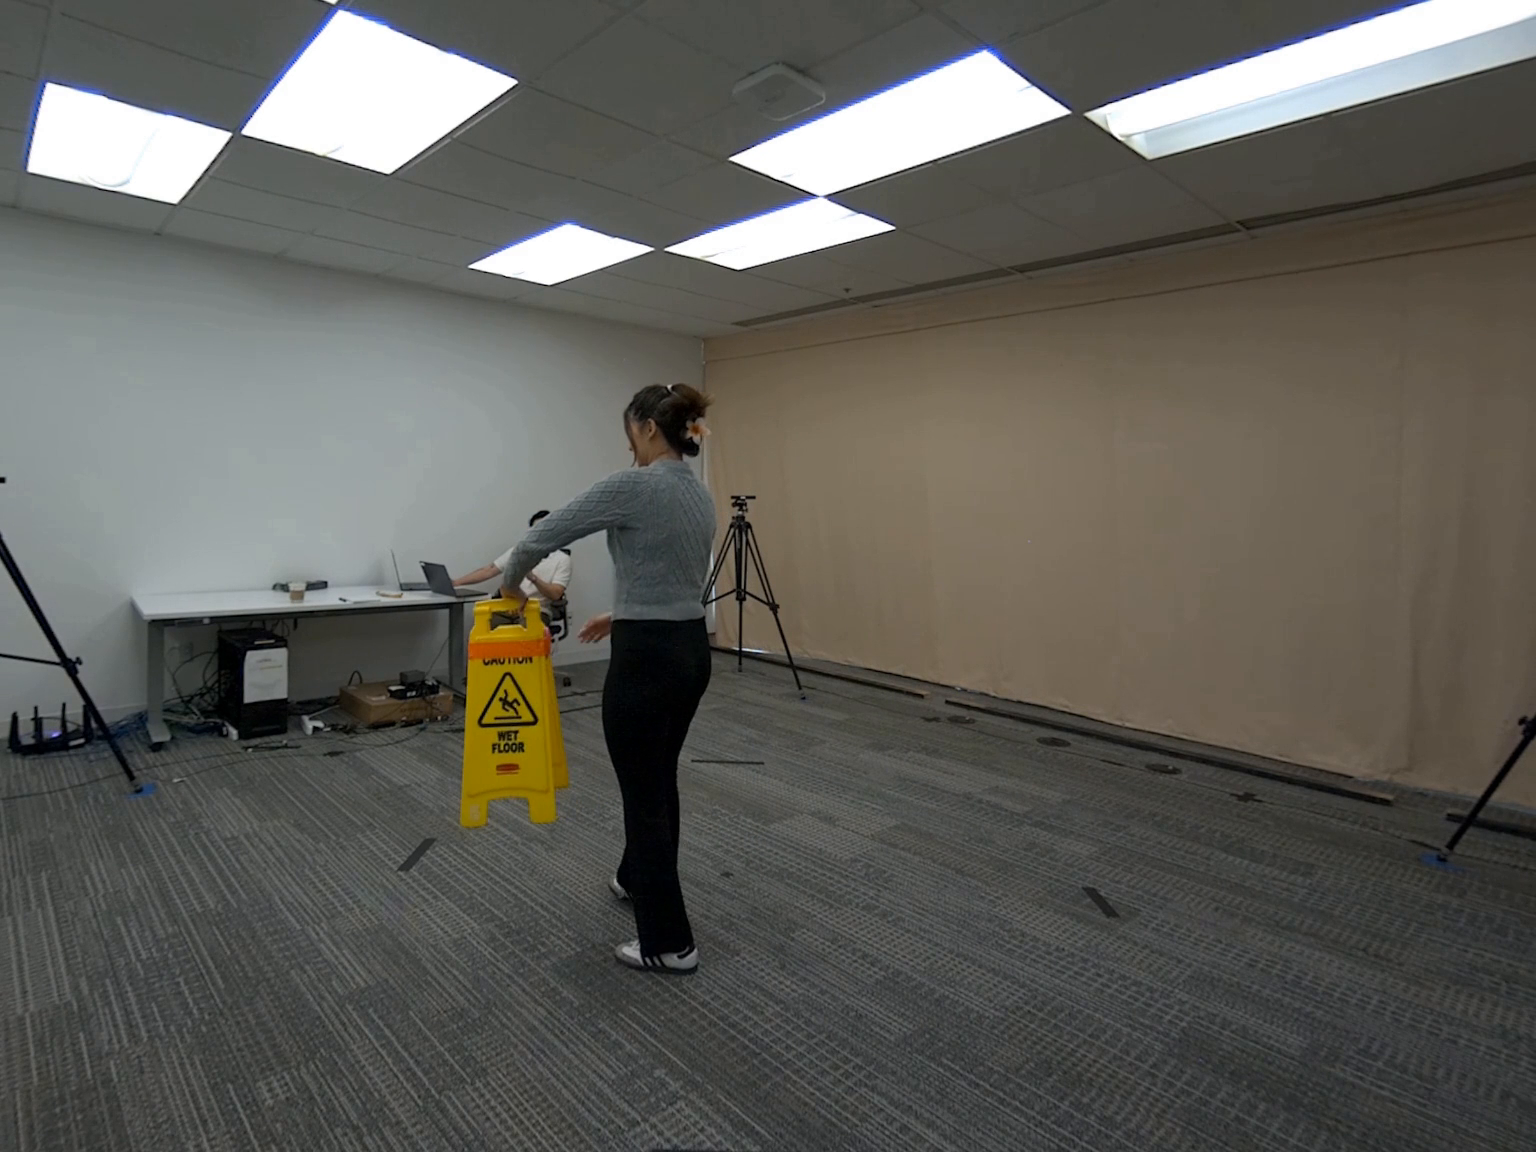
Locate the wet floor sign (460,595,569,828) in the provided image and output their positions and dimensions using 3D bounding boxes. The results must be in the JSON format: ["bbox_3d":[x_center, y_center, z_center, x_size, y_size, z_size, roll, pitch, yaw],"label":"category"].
[{"bbox_3d":[-0.785,0.395,2.590,0.281,0.644,0.291,-3,4,-5],"label":"wet floor sign"}]
